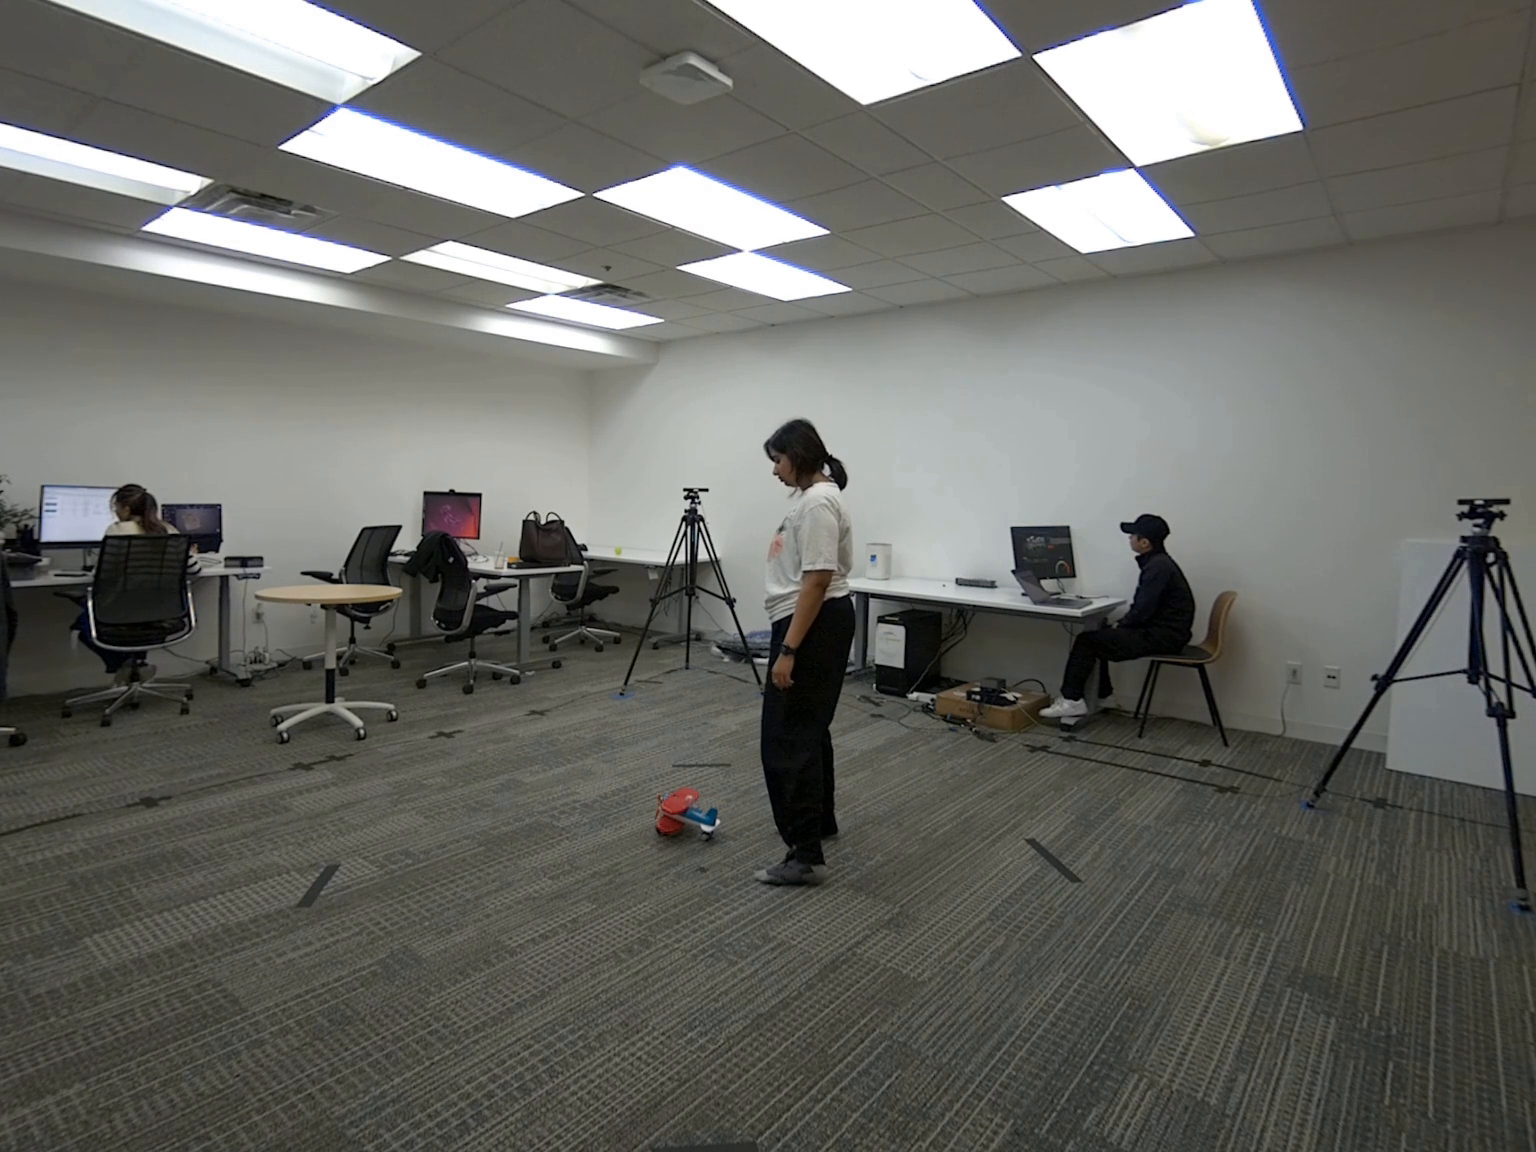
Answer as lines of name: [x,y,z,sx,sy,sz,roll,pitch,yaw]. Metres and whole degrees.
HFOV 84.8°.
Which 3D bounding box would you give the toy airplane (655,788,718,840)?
toy airplane: [-0.333,0.961,3.438,0.257,0.156,0.254,0,5,-8]
